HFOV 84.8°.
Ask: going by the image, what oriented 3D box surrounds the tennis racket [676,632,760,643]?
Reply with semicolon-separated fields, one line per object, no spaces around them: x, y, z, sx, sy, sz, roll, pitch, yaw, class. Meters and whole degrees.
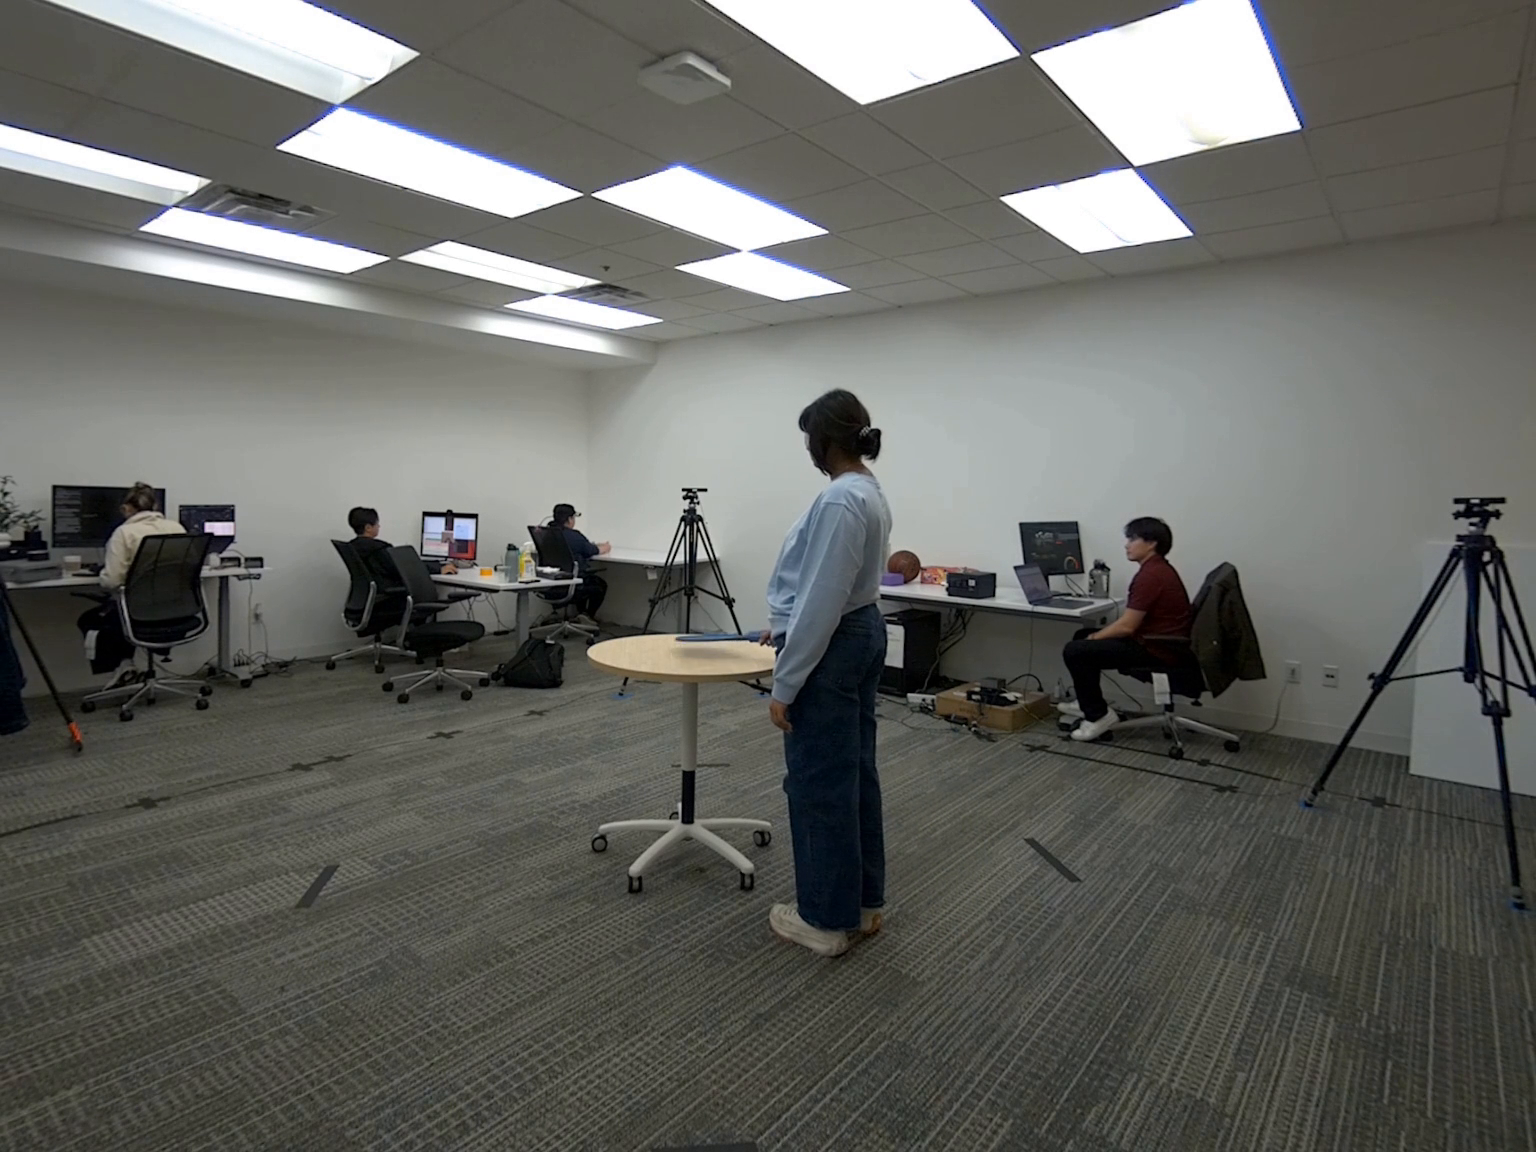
-0.167;0.212;3.102;0.445;0.032;0.207;-2;0;34;tennis racket
